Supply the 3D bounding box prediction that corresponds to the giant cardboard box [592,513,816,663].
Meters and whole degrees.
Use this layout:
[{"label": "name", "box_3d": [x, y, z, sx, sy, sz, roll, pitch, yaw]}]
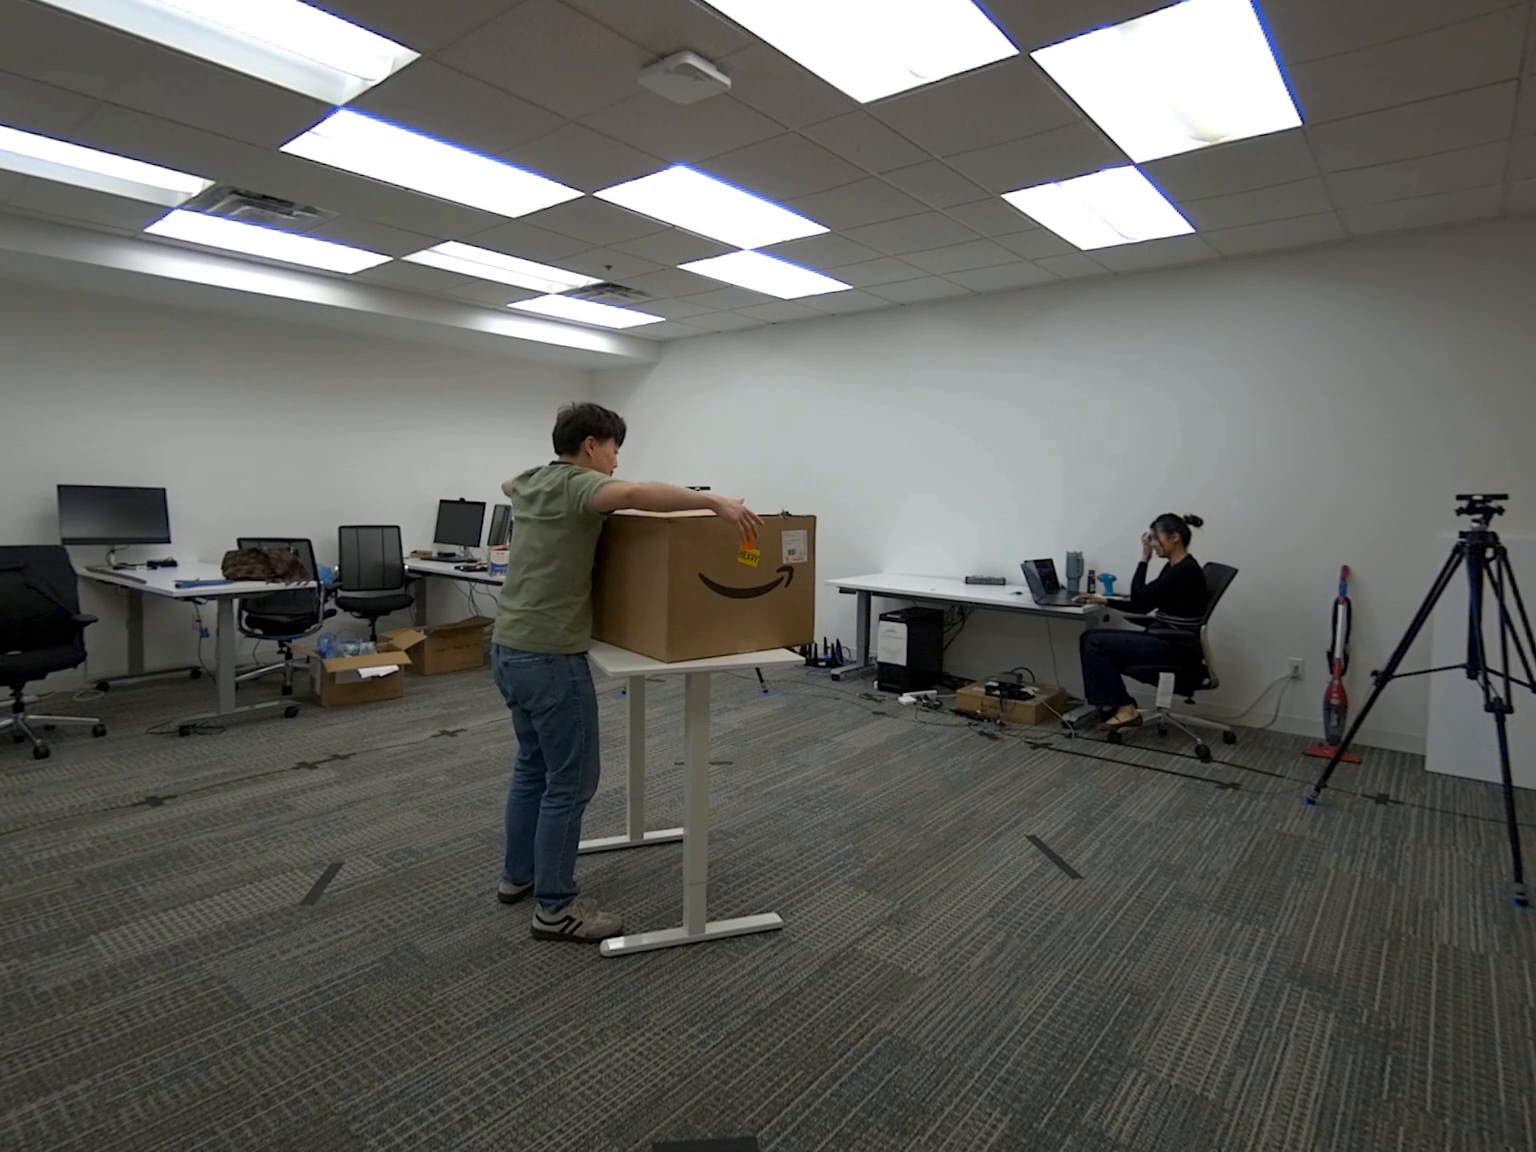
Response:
[{"label": "giant cardboard box", "box_3d": [-0.388, -0.027, 3.016, 0.561, 0.424, 1.061, -4, 8, -37]}]
